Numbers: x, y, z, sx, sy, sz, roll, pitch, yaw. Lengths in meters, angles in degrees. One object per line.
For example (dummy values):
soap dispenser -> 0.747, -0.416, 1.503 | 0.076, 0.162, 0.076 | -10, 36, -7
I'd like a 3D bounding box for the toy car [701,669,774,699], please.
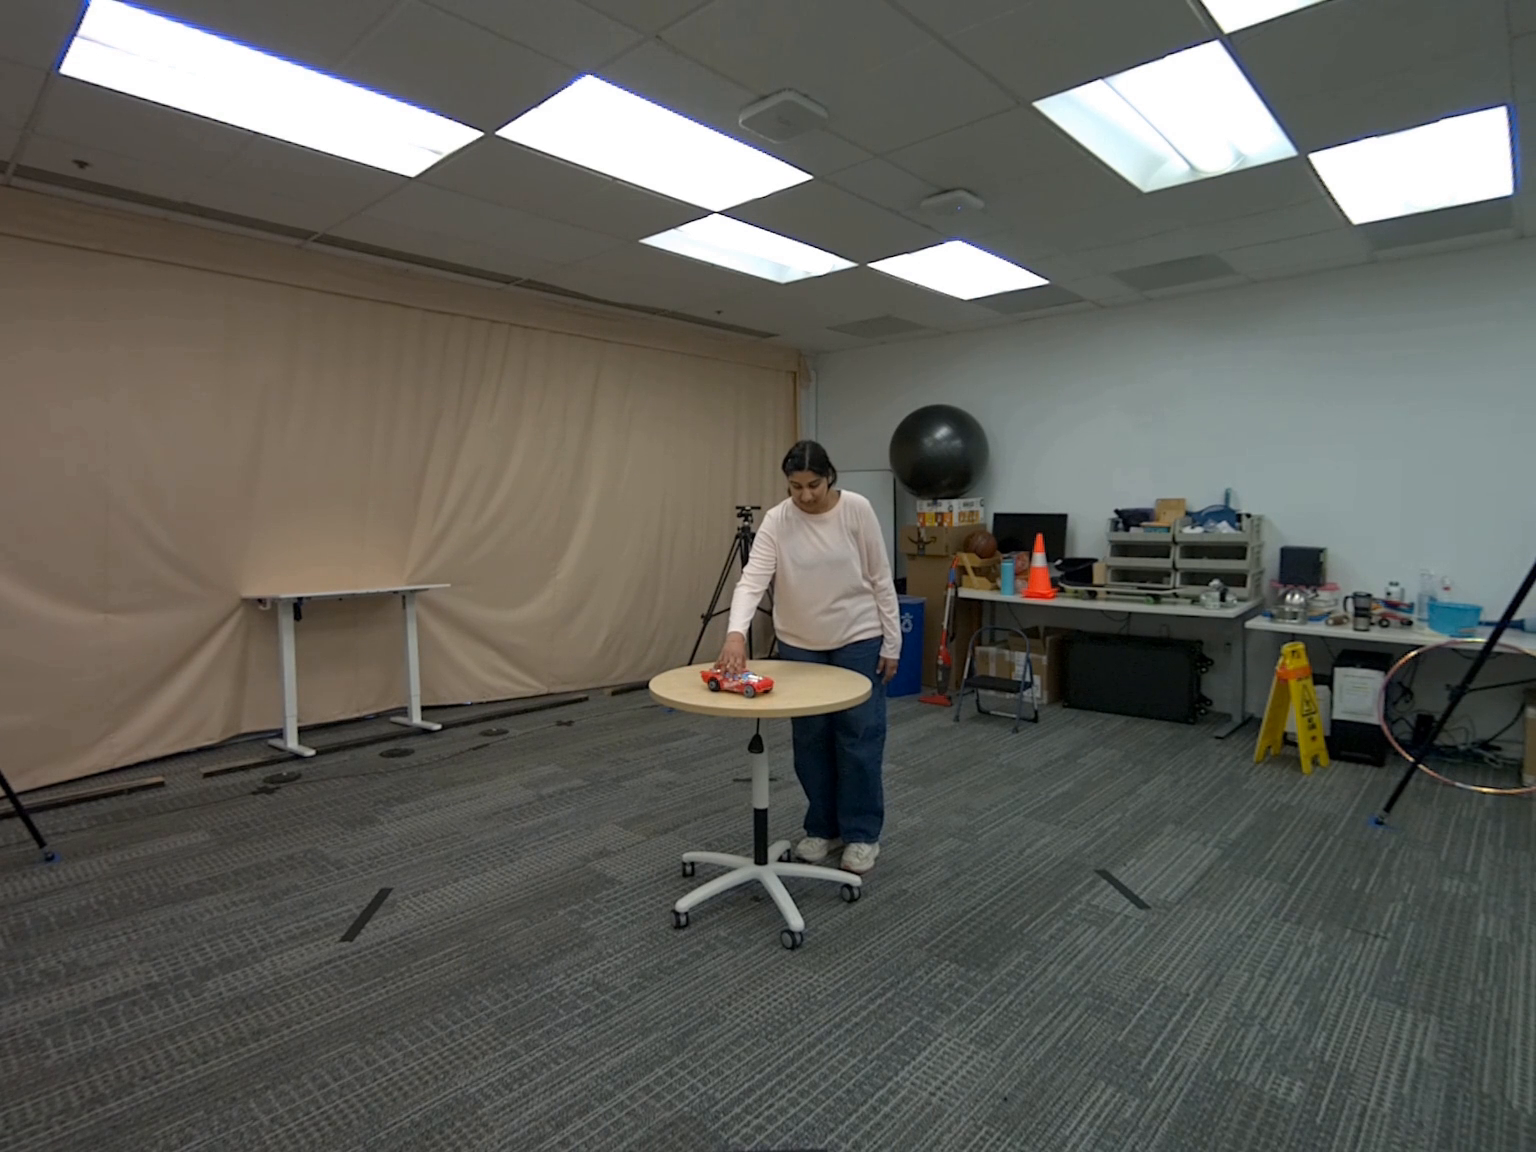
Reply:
toy car -> -0.104, 0.351, 2.775 | 0.263, 0.083, 0.126 | 16, 13, 35
